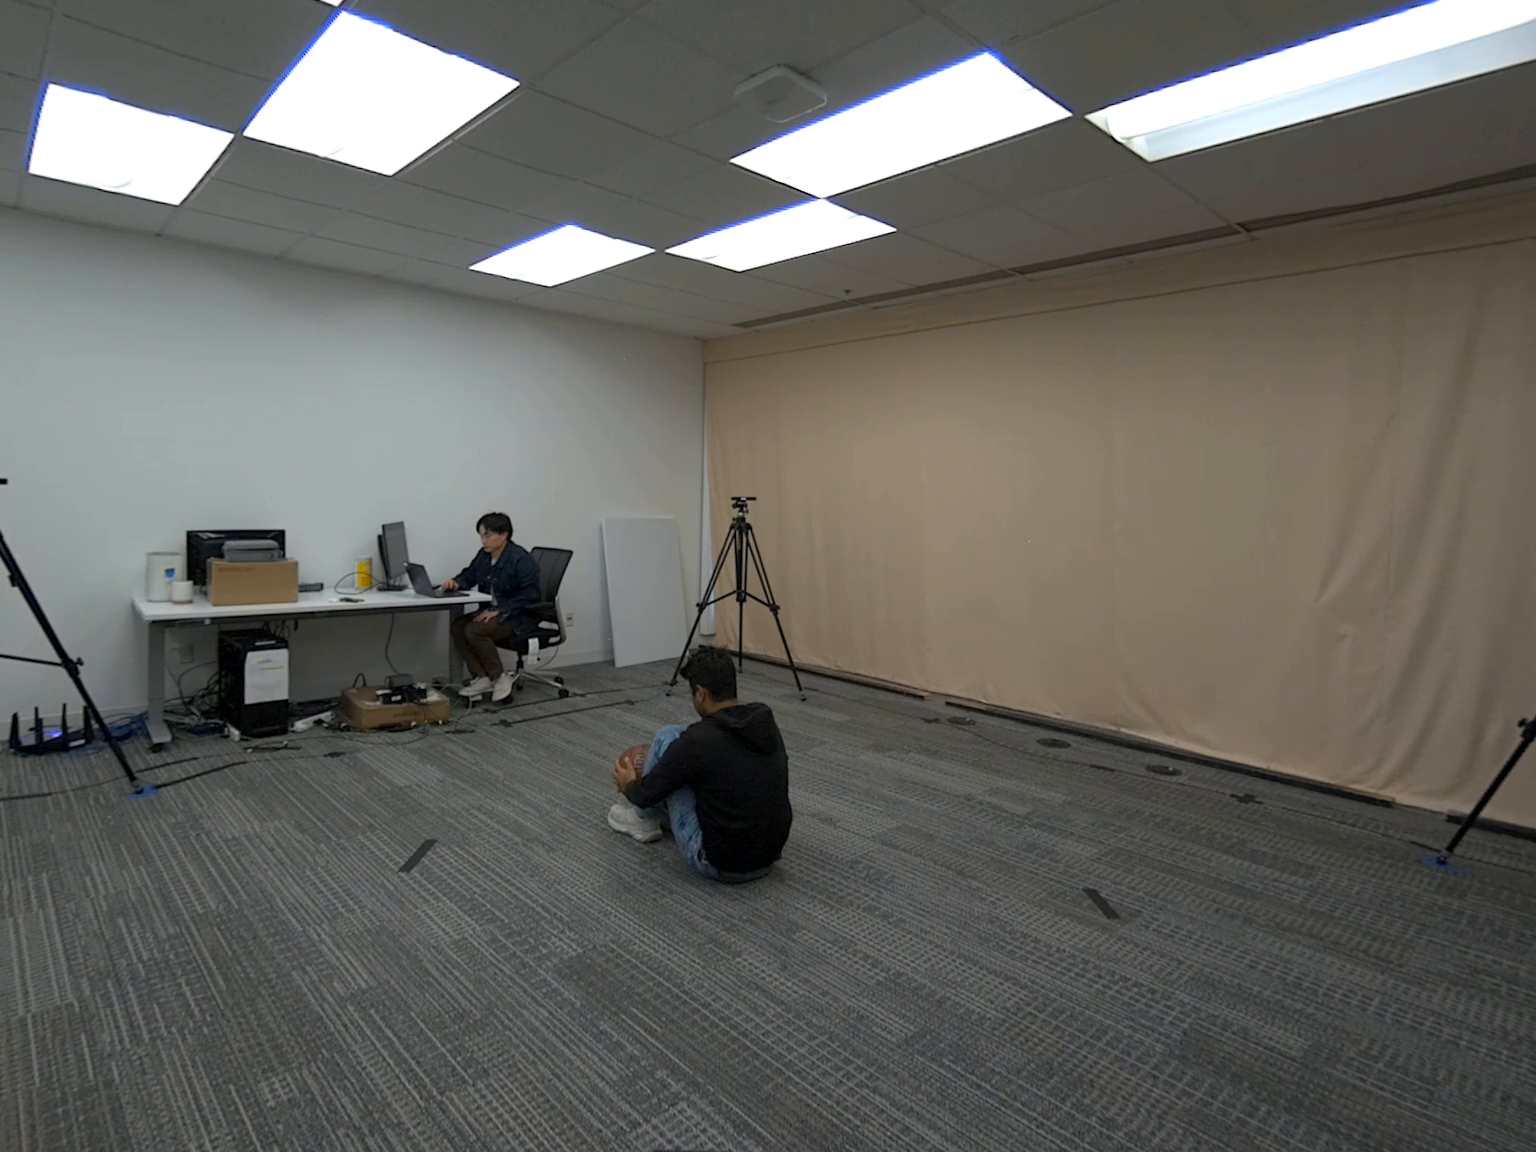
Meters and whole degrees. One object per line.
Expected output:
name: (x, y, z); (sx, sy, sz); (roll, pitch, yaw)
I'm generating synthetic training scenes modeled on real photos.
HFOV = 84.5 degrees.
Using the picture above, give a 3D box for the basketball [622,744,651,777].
basketball: (-0.526, 0.838, 3.571); (0.236, 0.235, 0.237); (1, 4, -1)
